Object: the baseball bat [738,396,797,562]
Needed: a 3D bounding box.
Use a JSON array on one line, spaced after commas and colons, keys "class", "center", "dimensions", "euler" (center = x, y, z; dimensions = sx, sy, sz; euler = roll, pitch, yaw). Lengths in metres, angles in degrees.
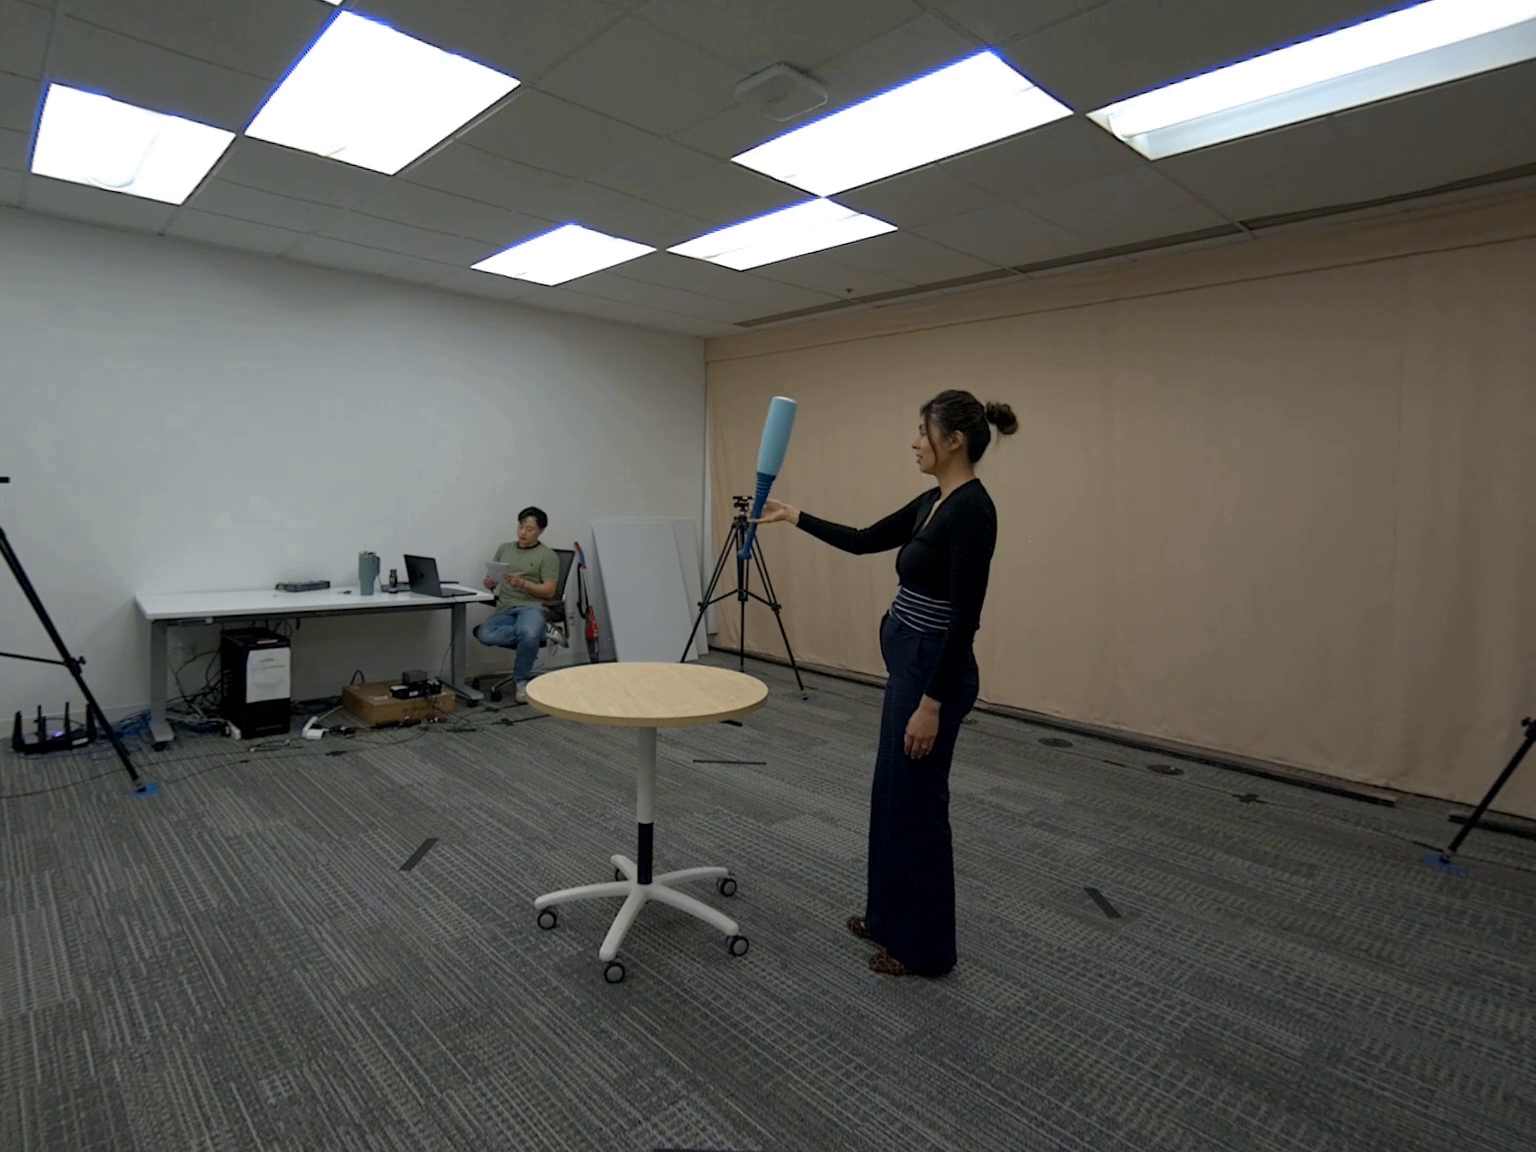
[{"class": "baseball bat", "center": [-0.005, -0.303, 2.751], "dimensions": [0.089, 0.540, 0.090], "euler": [13, 9, -4]}]
